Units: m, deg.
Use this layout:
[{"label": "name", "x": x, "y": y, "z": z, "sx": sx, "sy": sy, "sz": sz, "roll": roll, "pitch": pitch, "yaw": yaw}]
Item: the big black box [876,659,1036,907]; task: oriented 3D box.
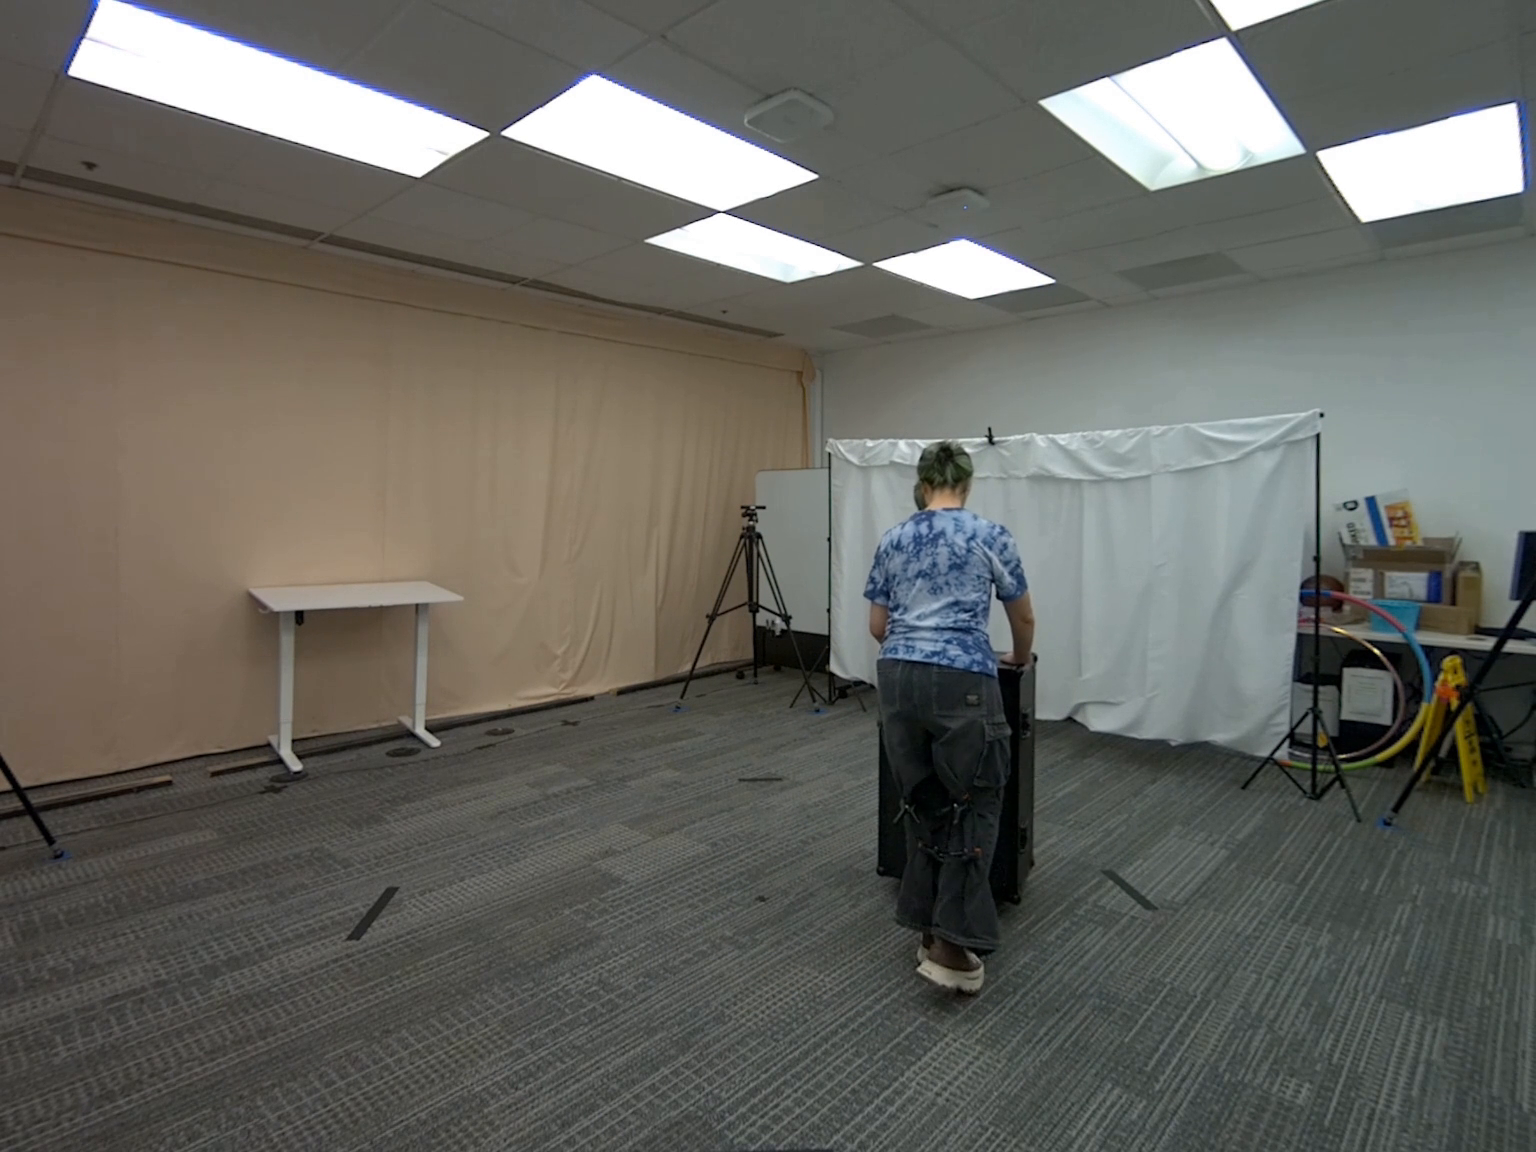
[{"label": "big black box", "x": 0.688, "y": 0.714, "z": 3.049, "sx": 0.535, "sy": 0.861, "sz": 0.386, "roll": 1, "pitch": 2, "yaw": 28}]
